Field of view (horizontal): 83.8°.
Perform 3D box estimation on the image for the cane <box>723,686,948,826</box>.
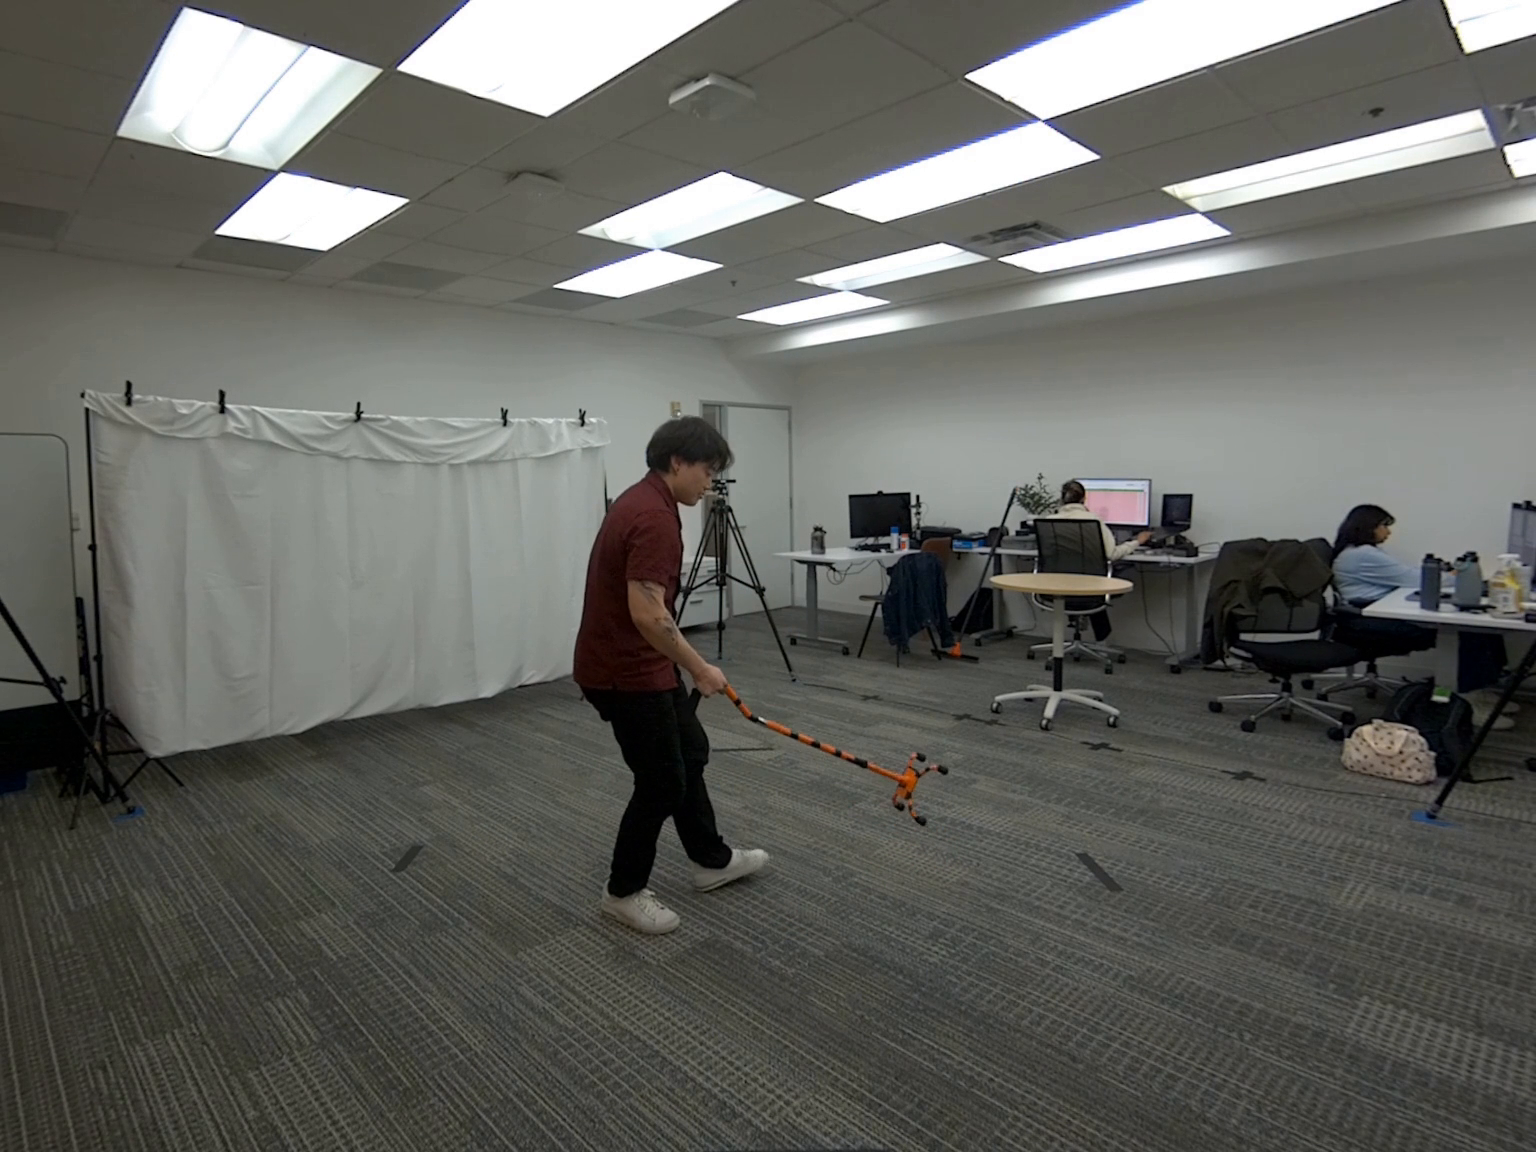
[{"bbox_3d":[0.156,0.520,2.660,0.884,0.207,0.155,26,-5,-22],"label":"cane"}]
